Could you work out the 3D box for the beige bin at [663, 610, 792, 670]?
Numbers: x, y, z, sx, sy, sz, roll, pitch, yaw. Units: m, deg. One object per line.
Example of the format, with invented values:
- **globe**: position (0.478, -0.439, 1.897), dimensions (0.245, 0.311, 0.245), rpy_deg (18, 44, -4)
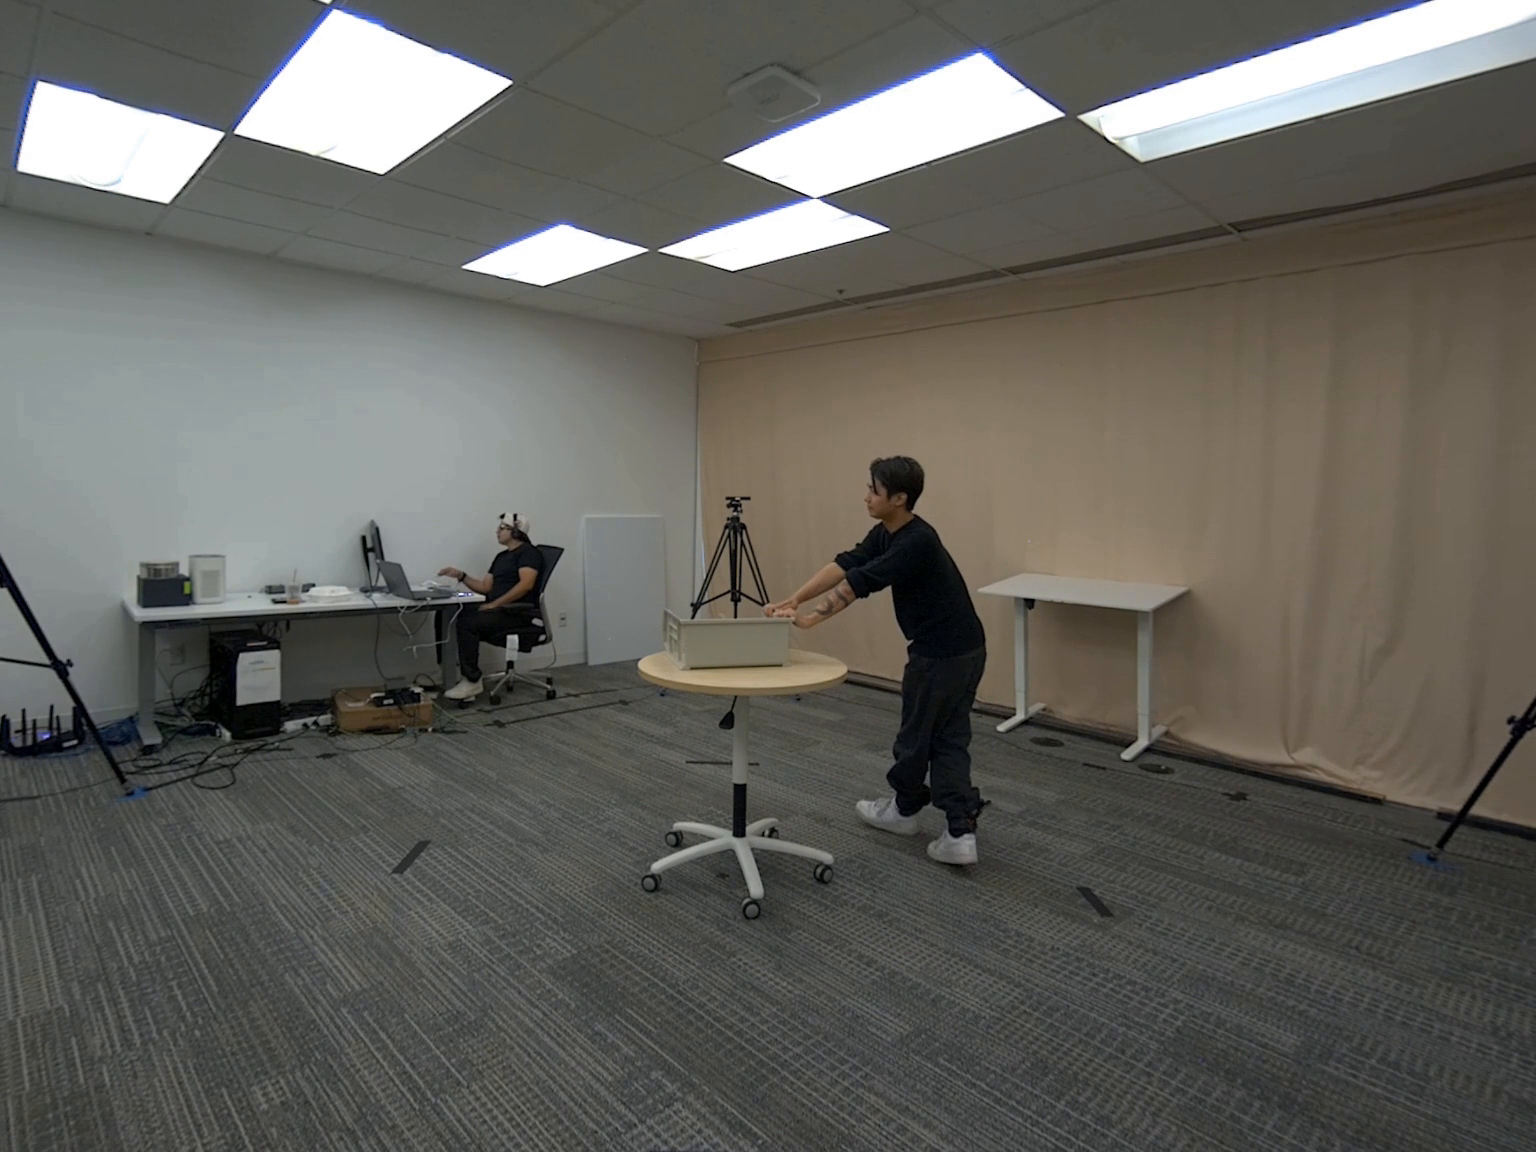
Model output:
- **beige bin**: position (-0.166, 0.224, 3.178), dimensions (0.417, 0.188, 0.384), rpy_deg (0, 7, -16)
